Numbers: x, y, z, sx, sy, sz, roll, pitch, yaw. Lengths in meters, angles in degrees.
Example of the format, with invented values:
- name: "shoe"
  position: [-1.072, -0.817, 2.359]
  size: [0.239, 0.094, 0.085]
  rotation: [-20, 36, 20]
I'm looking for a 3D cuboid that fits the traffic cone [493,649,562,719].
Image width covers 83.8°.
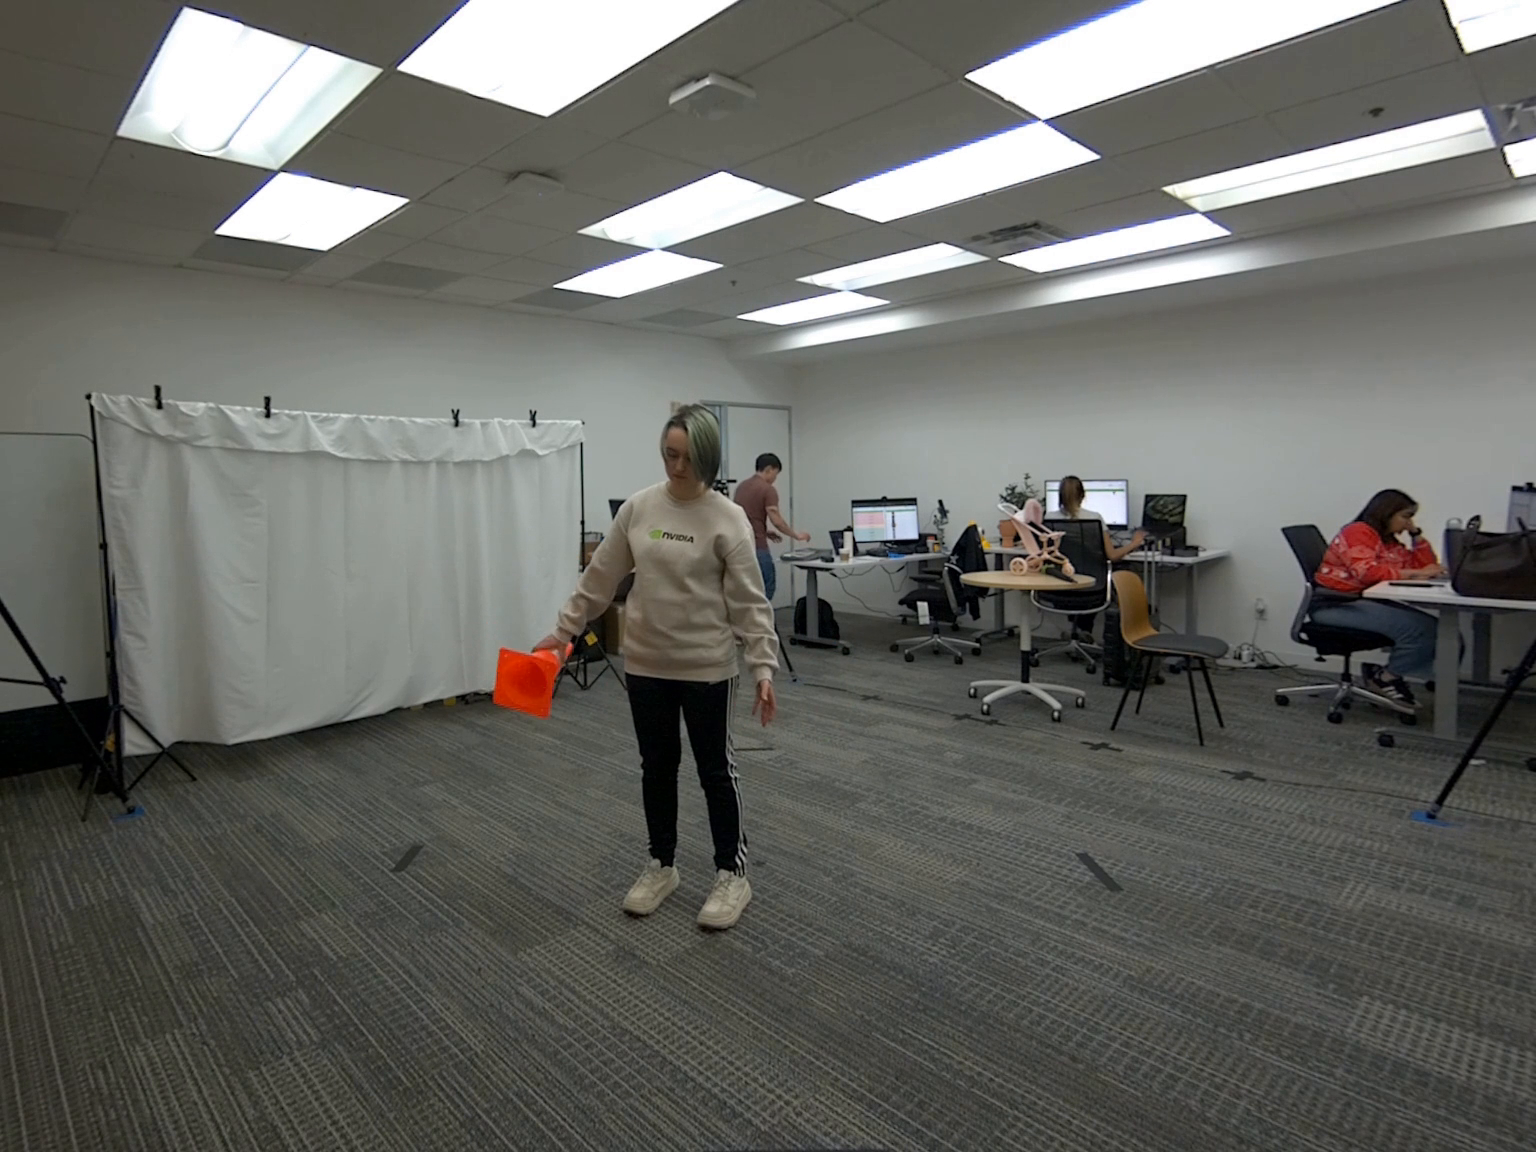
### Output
- name: "traffic cone"
  position: [-0.744, 0.293, 2.915]
  size: [0.205, 0.203, 0.384]
  rotation: [12, 15, 6]
